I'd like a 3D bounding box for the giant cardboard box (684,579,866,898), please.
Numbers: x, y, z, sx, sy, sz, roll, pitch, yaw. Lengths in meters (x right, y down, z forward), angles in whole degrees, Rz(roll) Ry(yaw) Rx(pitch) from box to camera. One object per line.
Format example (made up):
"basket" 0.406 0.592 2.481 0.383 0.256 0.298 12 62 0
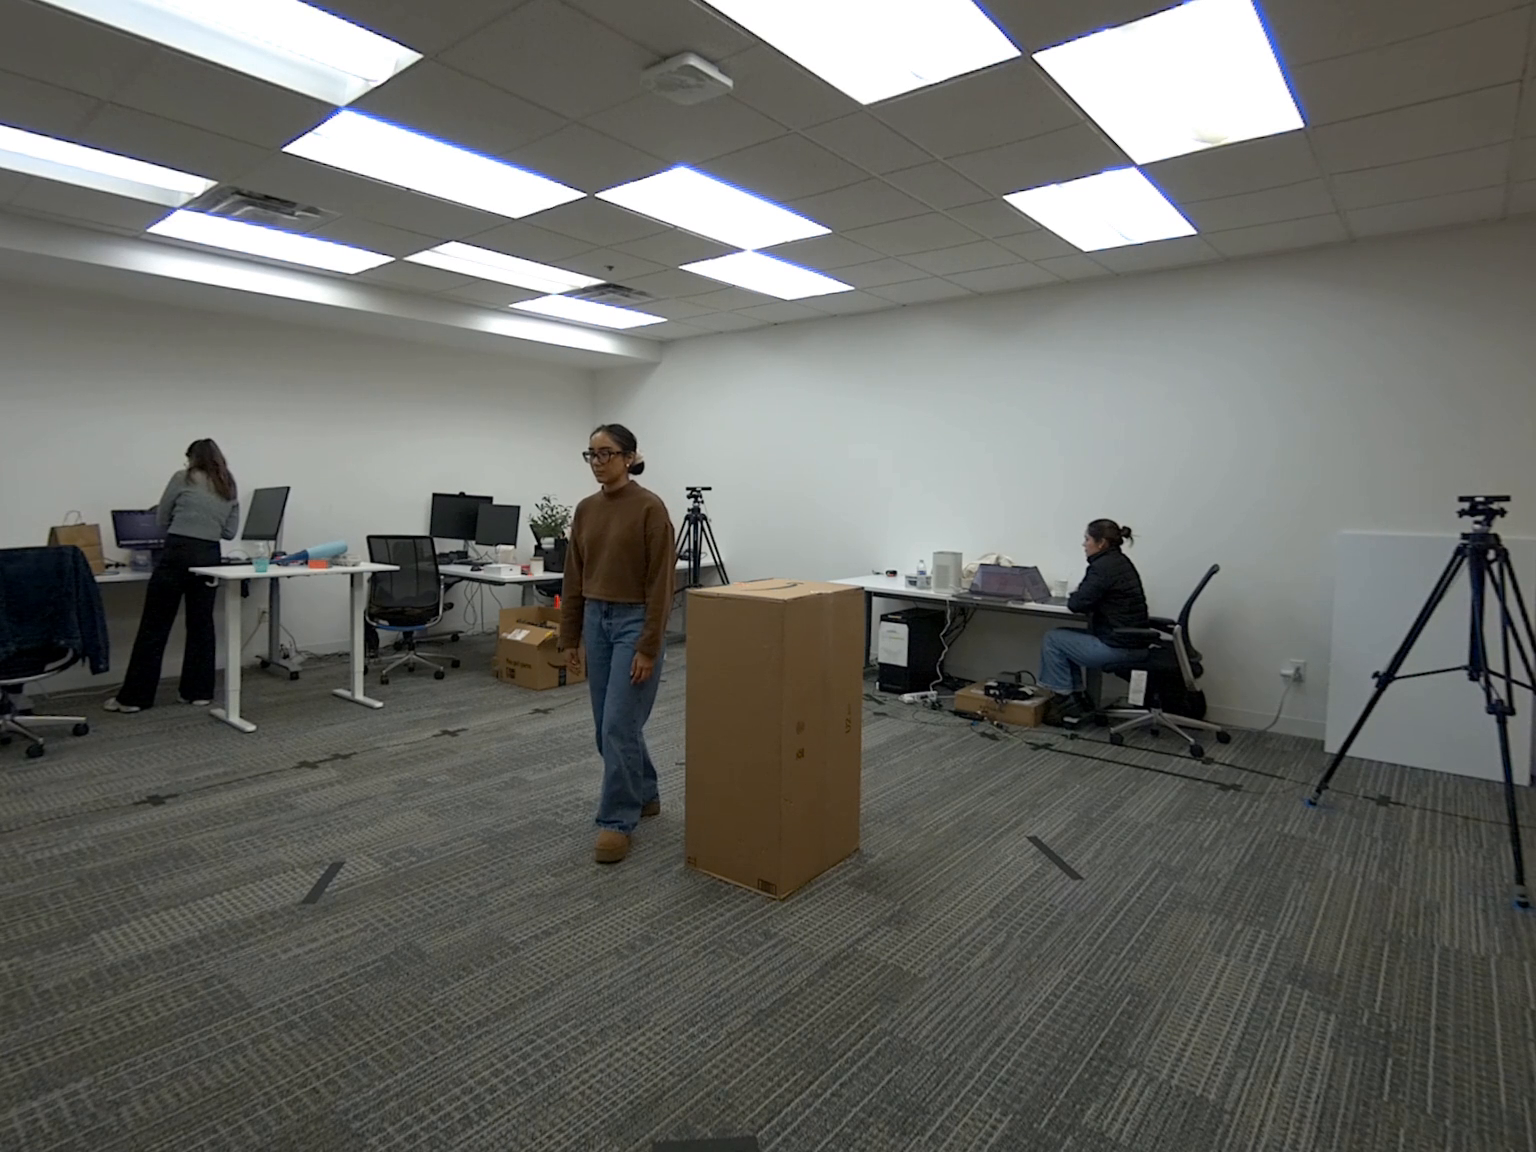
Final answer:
"giant cardboard box" 0.021 0.552 3.188 0.440 1.023 0.561 3 4 36
